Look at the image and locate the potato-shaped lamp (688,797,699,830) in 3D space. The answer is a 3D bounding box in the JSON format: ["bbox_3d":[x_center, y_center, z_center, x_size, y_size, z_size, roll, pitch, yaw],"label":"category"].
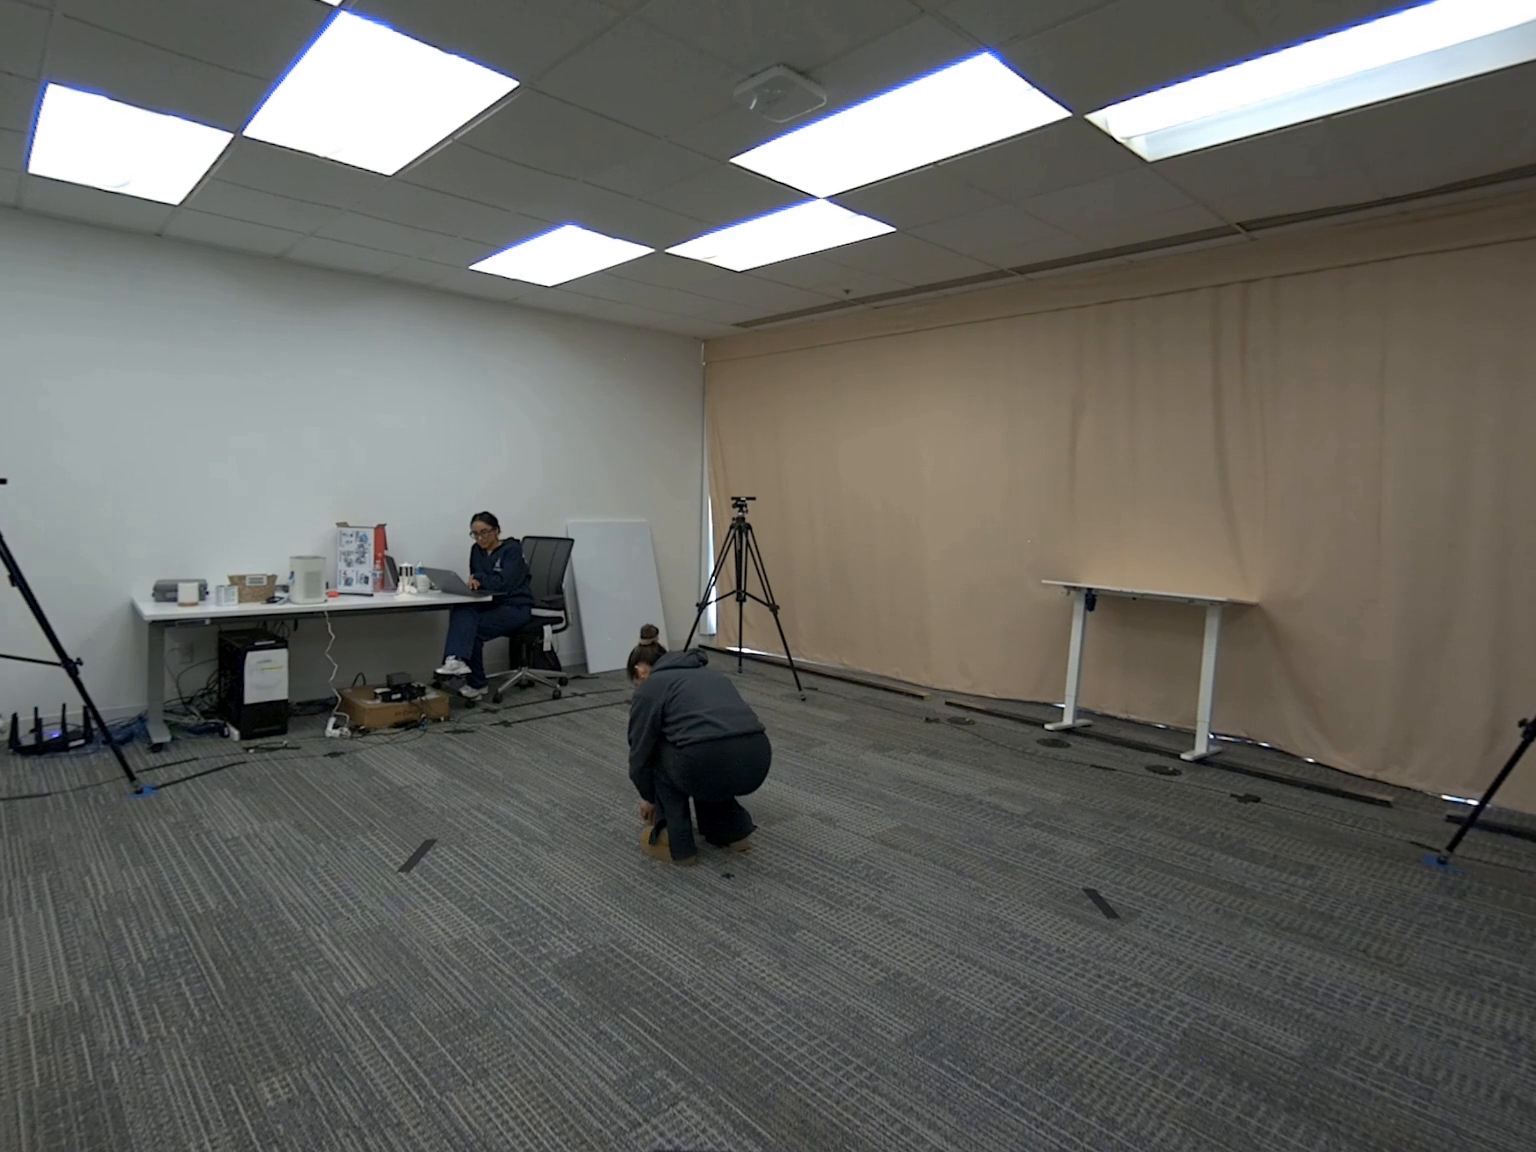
[{"bbox_3d":[-0.446,0.933,3.574,0.176,0.198,0.161,3,3,44],"label":"potato-shaped lamp"}]
